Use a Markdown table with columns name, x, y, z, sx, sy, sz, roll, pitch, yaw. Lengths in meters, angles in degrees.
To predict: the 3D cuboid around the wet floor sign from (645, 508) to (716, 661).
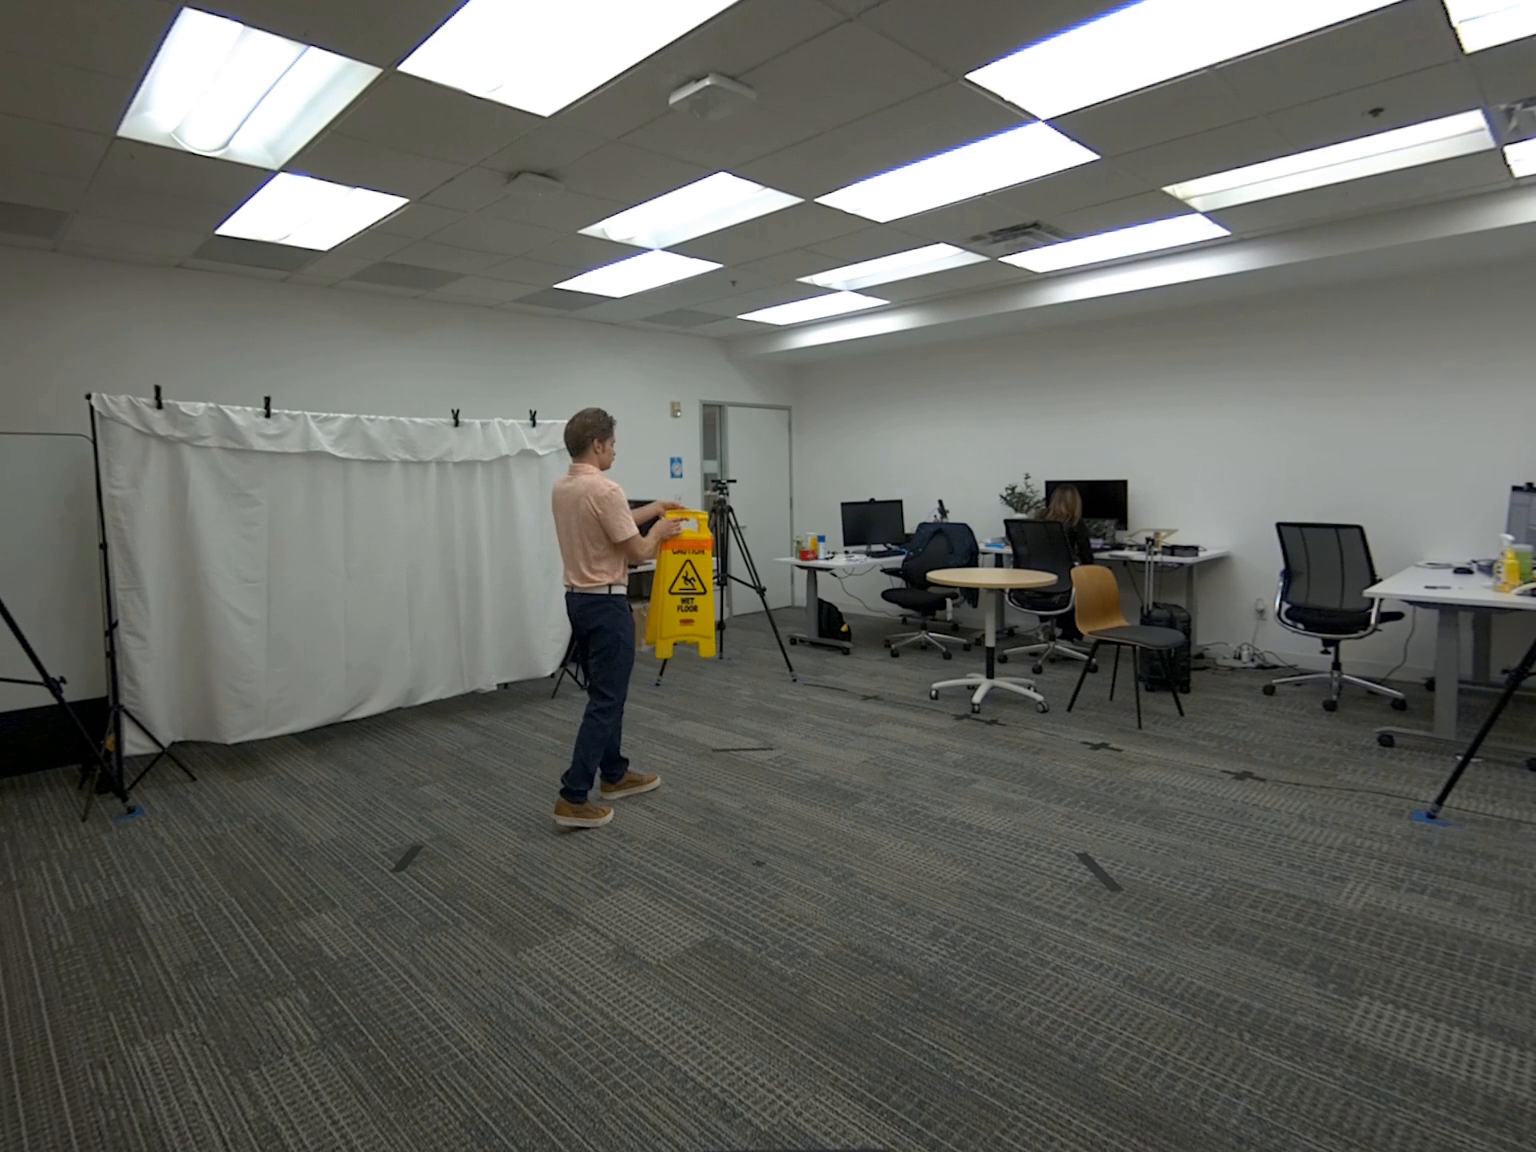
| name | x | y | z | sx | sy | sz | roll | pitch | yaw |
| --- | --- | --- | --- | --- | --- | --- | --- | --- | --- |
| wet floor sign | -0.387 | 0.024 | 3.919 | 0.277 | 0.641 | 0.297 | 1 | 9 | -19 |
